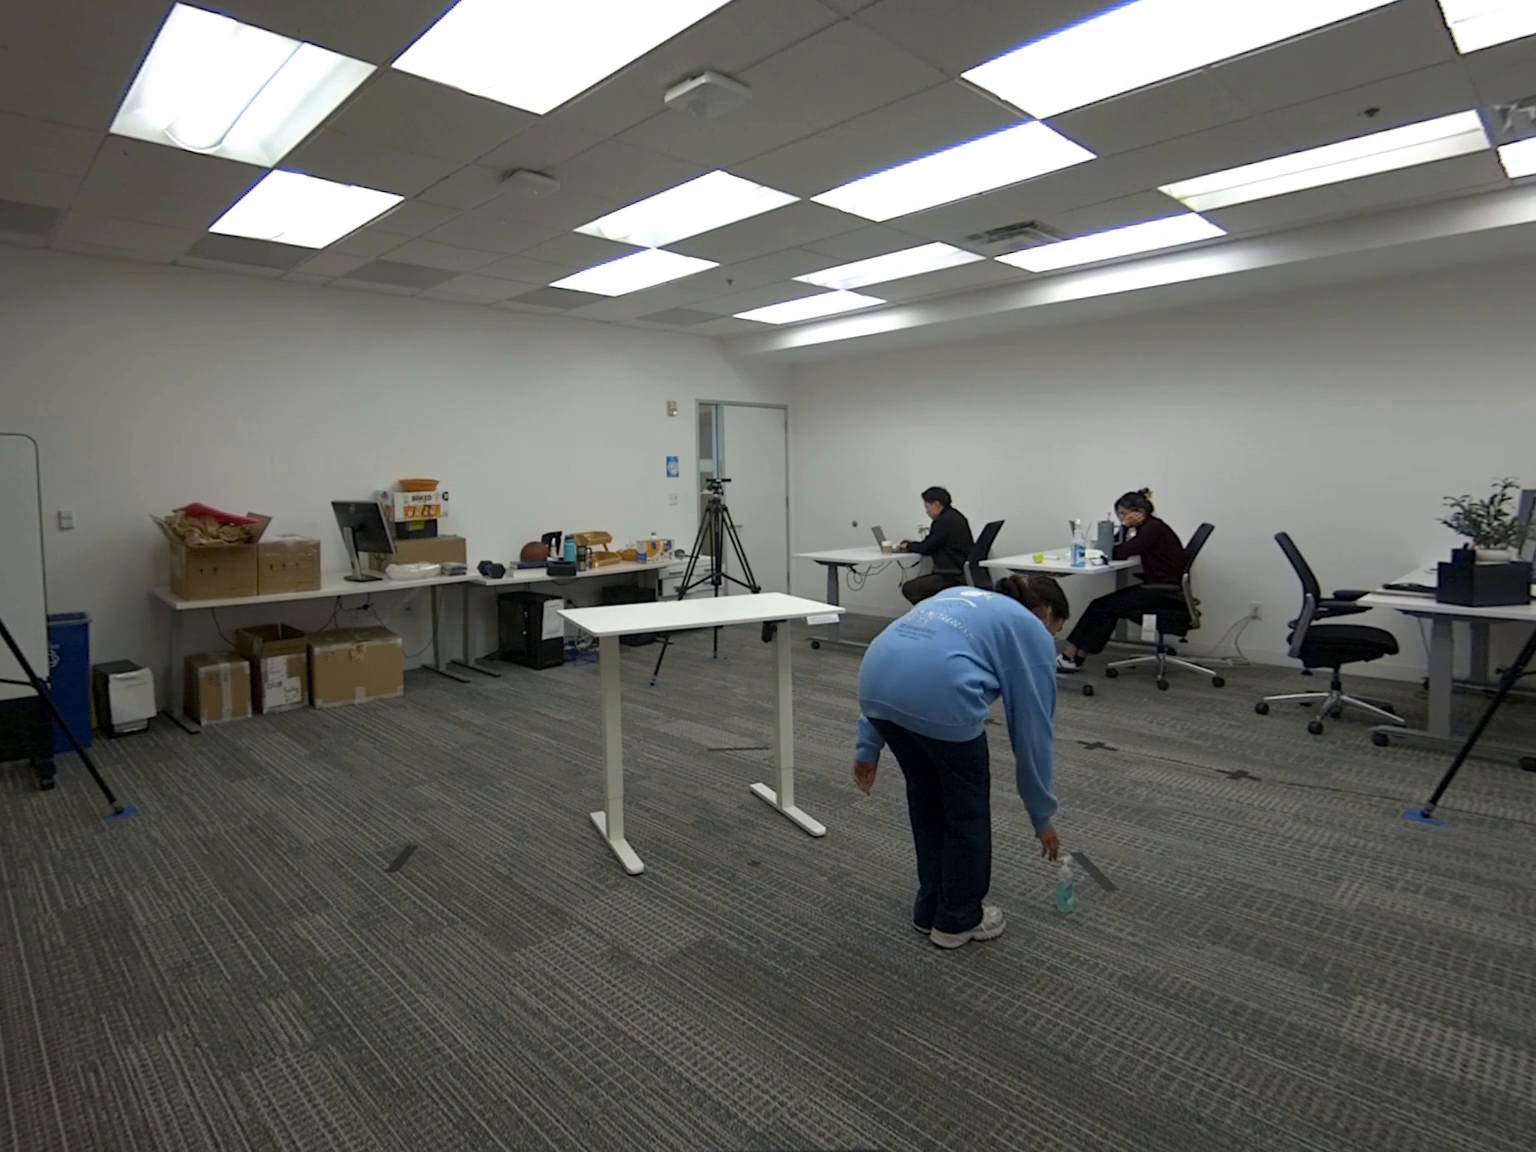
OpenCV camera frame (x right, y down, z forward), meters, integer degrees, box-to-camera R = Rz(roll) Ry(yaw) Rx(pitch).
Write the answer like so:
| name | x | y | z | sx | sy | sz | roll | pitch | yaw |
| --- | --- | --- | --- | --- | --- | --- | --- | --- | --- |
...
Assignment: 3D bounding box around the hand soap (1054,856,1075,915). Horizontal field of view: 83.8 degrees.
| name | x | y | z | sx | sy | sz | roll | pitch | yaw |
| --- | --- | --- | --- | --- | --- | --- | --- | --- | --- |
| hand soap | 0.954 | 0.985 | 2.732 | 0.082 | 0.167 | 0.045 | -4 | 5 | -39 |
